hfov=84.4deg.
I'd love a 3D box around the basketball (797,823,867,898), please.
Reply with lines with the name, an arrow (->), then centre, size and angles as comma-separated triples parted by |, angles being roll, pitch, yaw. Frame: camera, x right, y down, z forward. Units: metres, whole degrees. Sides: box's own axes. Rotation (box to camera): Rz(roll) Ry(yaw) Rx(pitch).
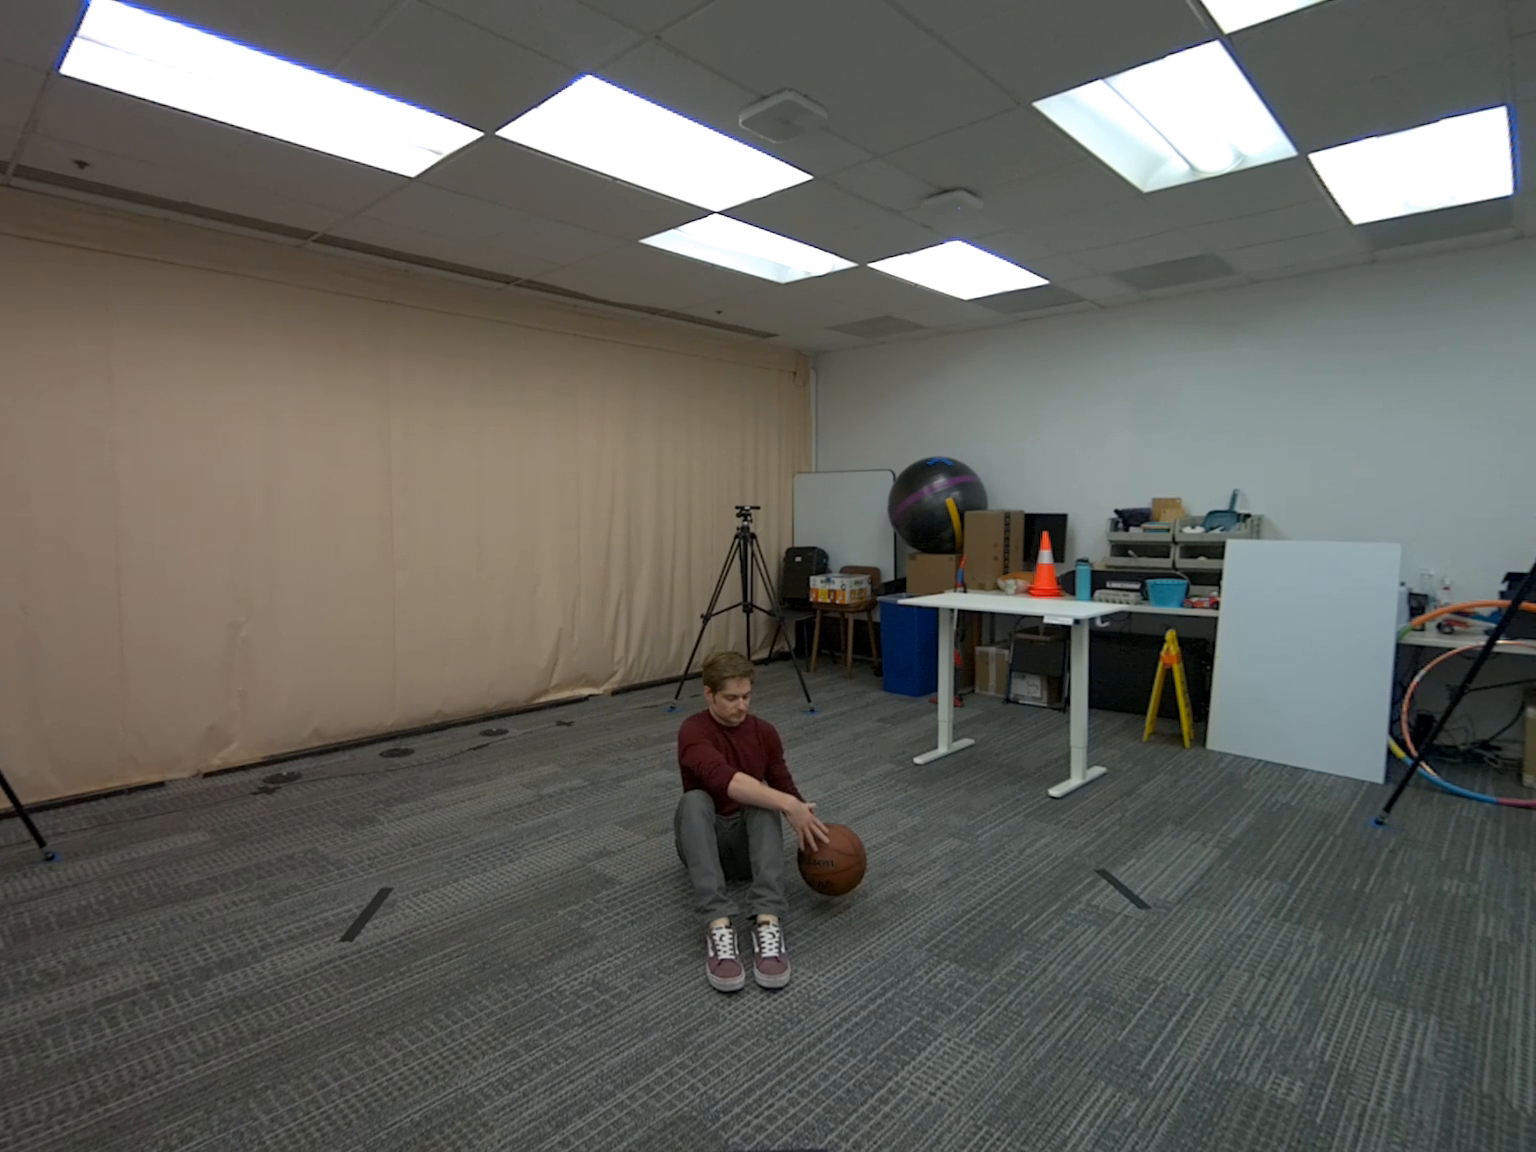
basketball -> 0.221, 0.951, 2.886 | 0.236, 0.235, 0.237 | 0, 4, -2
